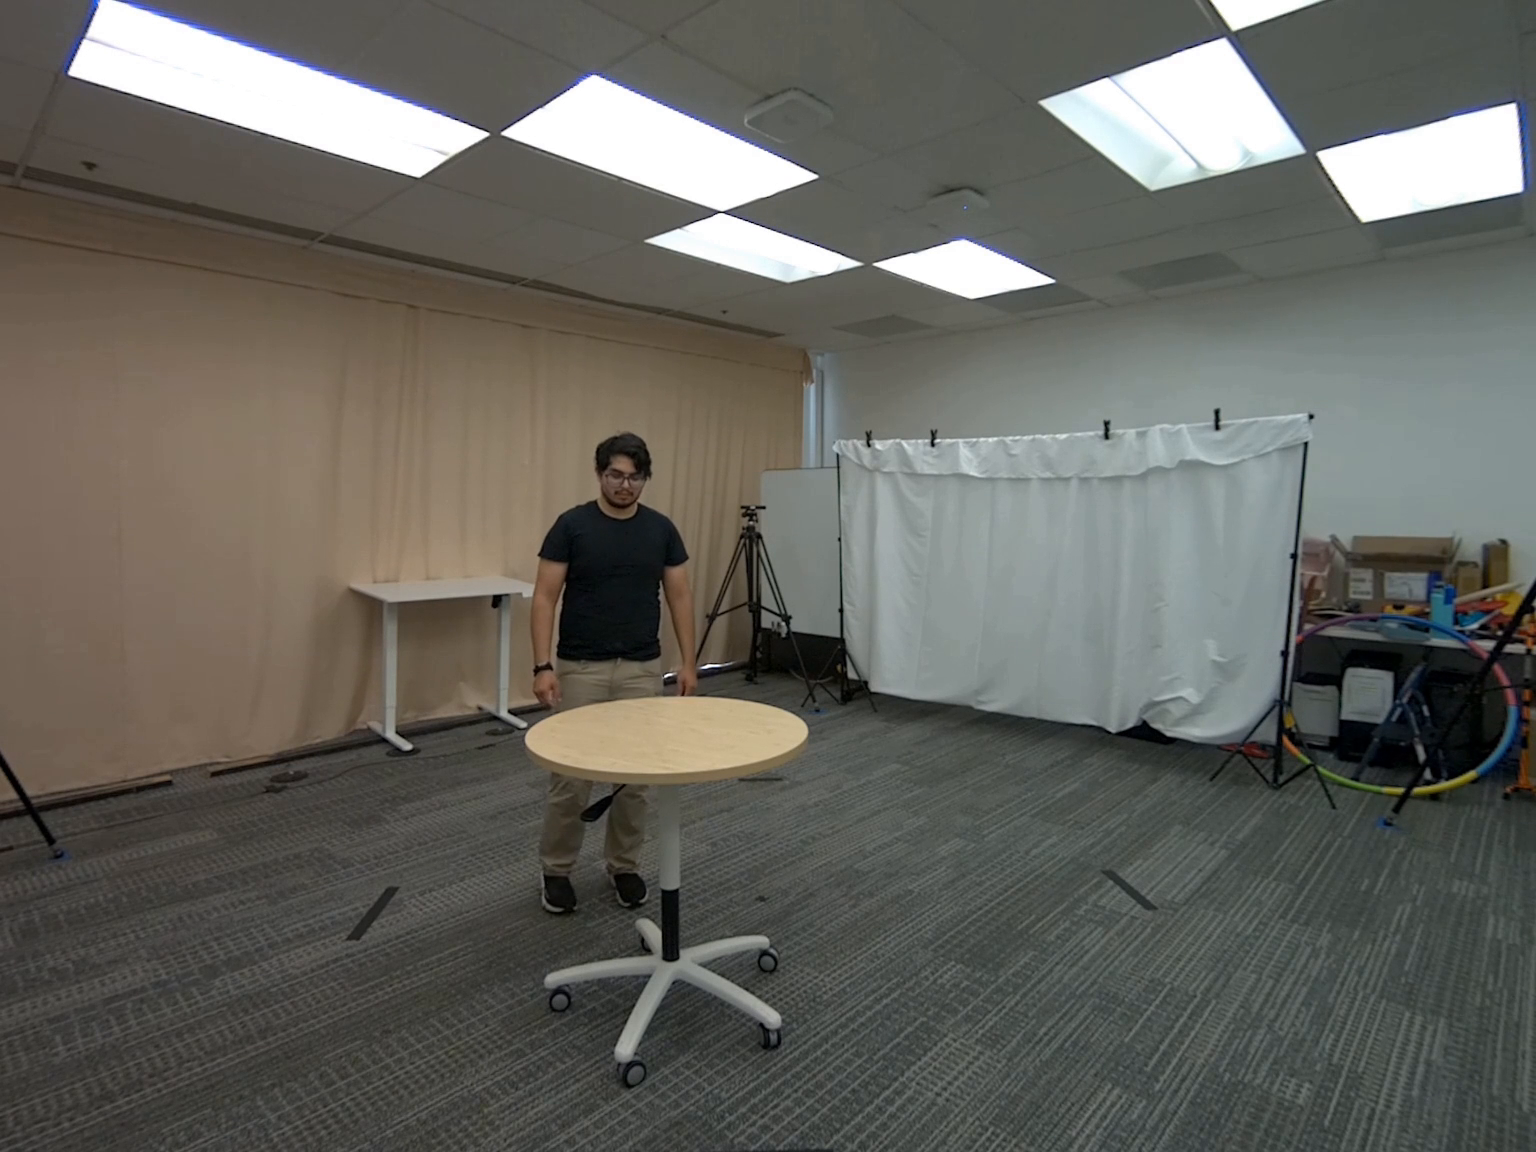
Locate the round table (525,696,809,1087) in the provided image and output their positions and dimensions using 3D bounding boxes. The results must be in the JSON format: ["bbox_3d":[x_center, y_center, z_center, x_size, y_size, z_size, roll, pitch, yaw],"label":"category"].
[{"bbox_3d":[-0.270,0.809,2.313,0.784,0.785,0.788,-1,4,-2],"label":"round table"}]
